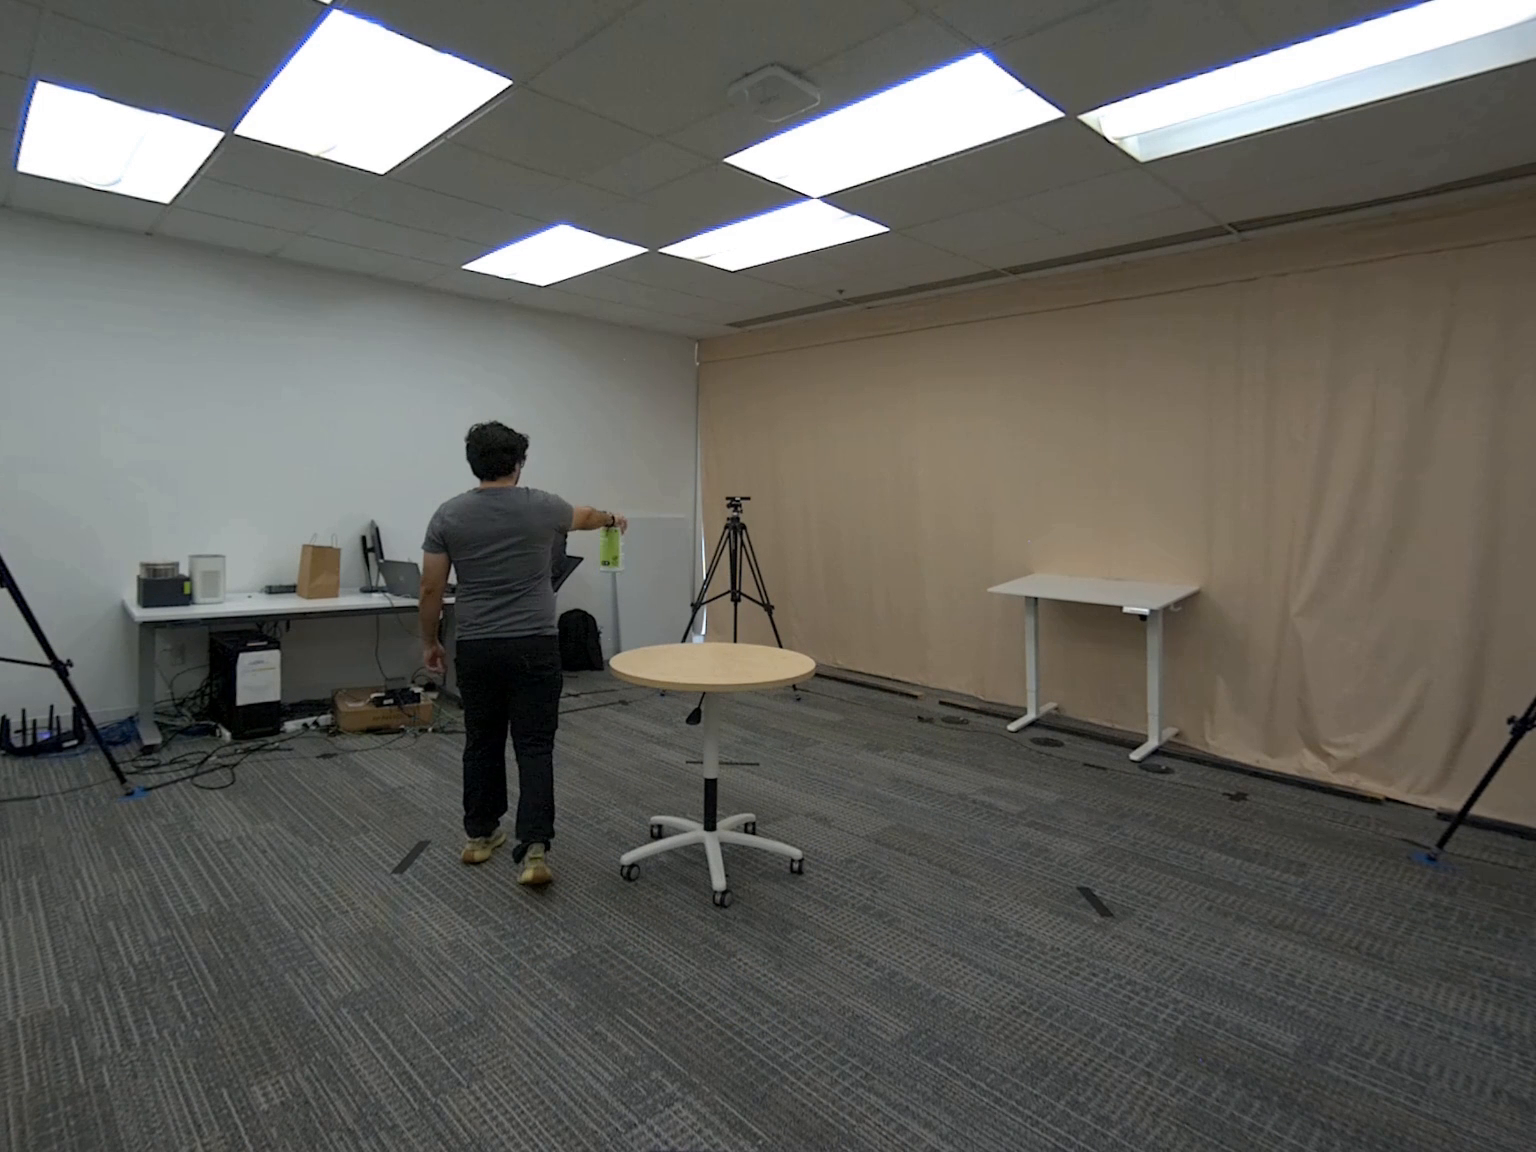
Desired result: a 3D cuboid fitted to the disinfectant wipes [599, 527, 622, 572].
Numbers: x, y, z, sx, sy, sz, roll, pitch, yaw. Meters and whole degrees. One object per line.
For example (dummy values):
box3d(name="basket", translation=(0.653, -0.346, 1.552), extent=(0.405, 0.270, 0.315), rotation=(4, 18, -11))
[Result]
box3d(name="disinfectant wipes", translation=(-0.700, -0.127, 3.686), extent=(0.118, 0.217, 0.118), rotation=(0, 3, -1))
